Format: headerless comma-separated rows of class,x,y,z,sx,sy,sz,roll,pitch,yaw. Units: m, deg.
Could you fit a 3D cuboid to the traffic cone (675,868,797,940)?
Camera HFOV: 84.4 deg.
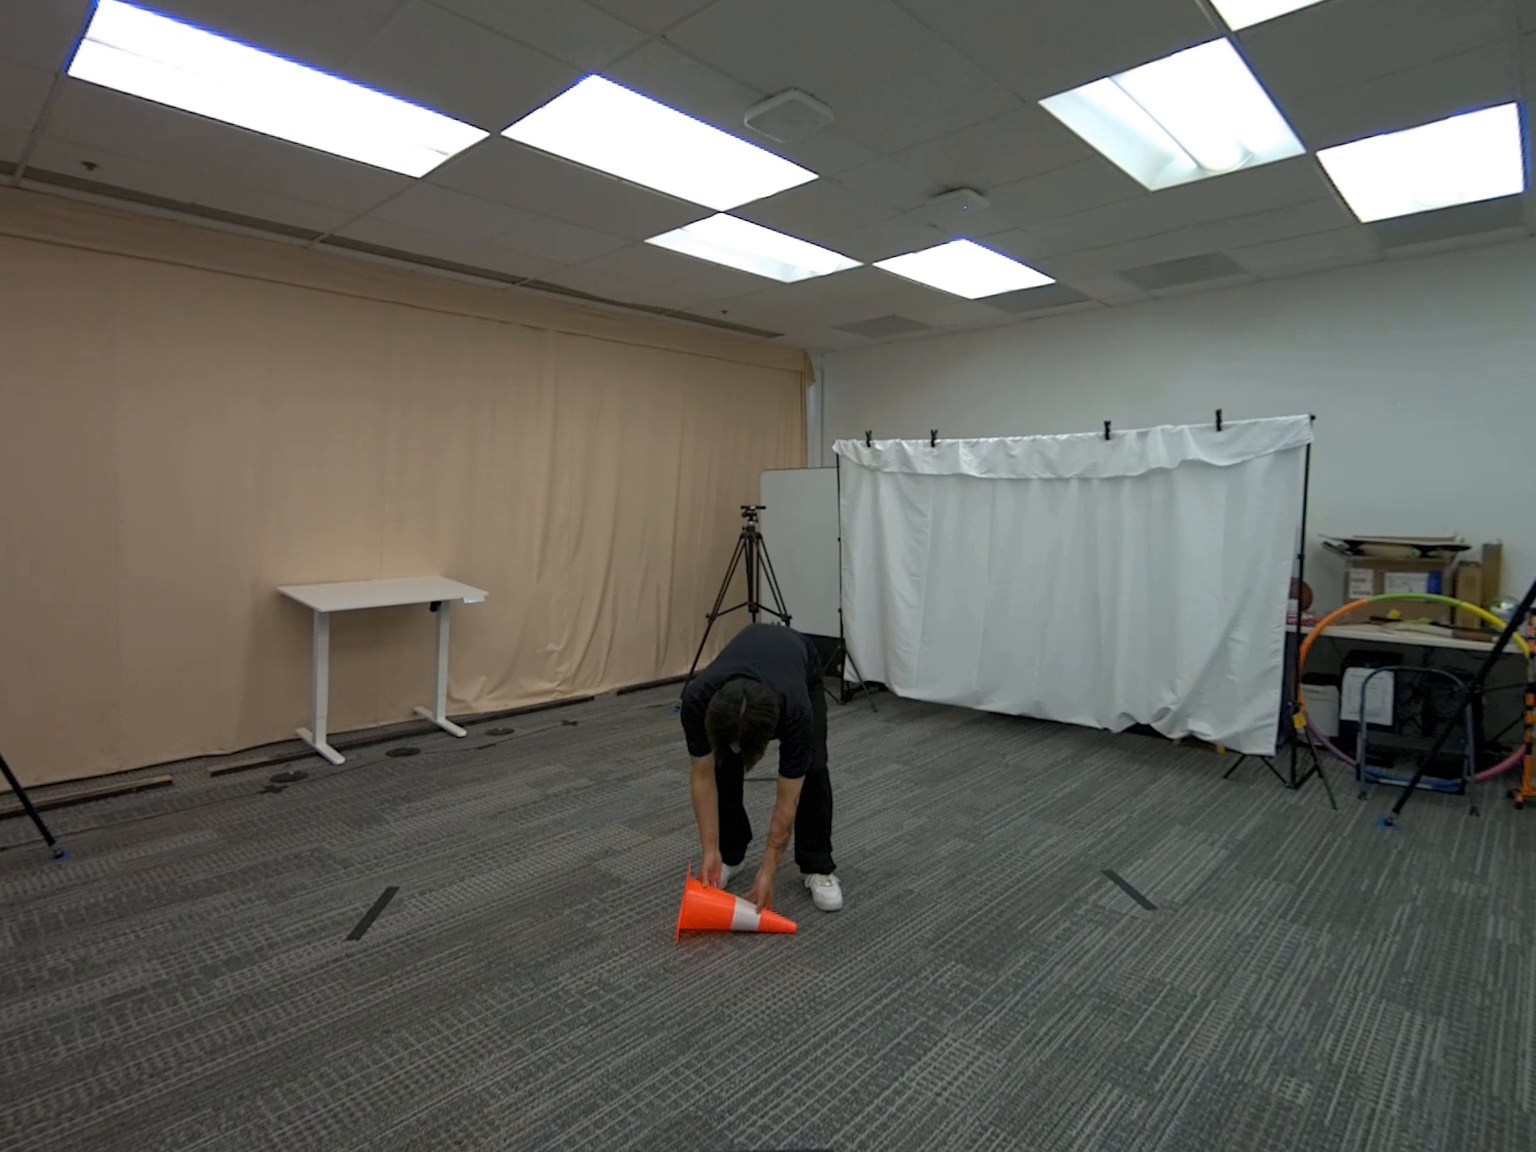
traffic cone,-0.088,1.108,2.756,0.384,0.204,0.204,10,7,-1
